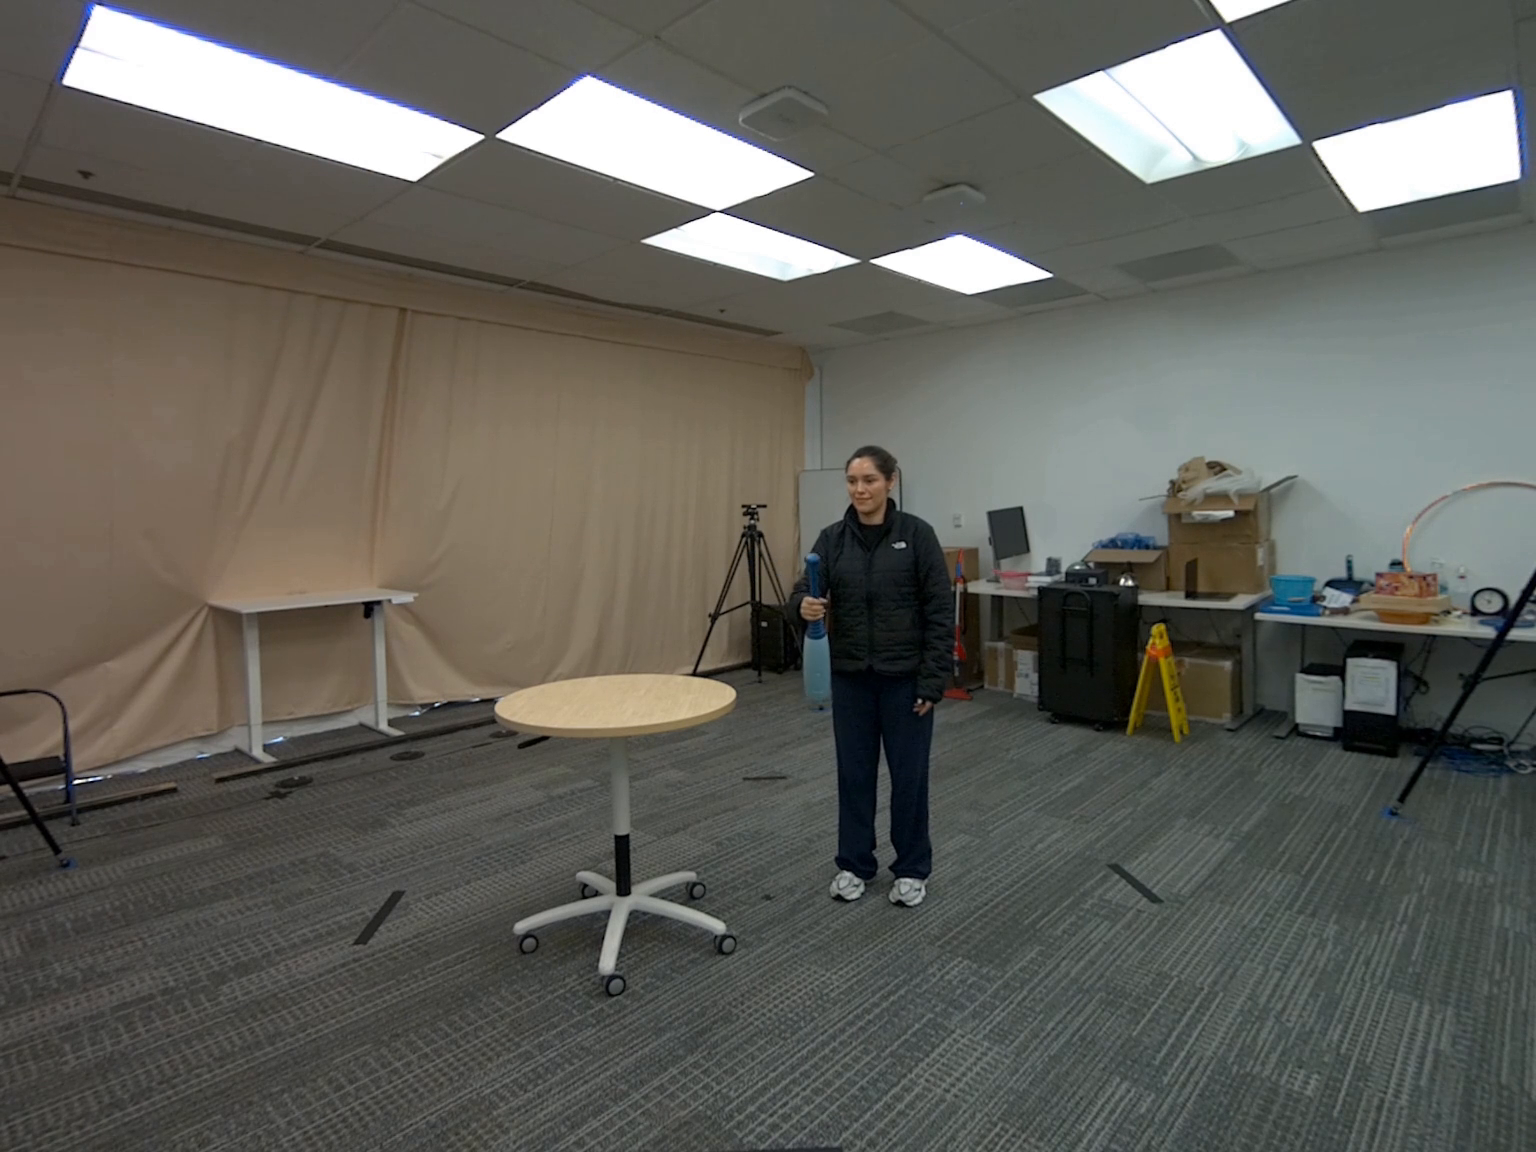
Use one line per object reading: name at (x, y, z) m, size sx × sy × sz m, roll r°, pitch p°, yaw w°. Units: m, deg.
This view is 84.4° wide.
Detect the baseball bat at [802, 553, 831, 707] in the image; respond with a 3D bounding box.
baseball bat at (0.174, 0.174, 2.738) m, size 0.089 × 0.534 × 0.090 m, roll -1°, pitch 27°, yaw -1°
